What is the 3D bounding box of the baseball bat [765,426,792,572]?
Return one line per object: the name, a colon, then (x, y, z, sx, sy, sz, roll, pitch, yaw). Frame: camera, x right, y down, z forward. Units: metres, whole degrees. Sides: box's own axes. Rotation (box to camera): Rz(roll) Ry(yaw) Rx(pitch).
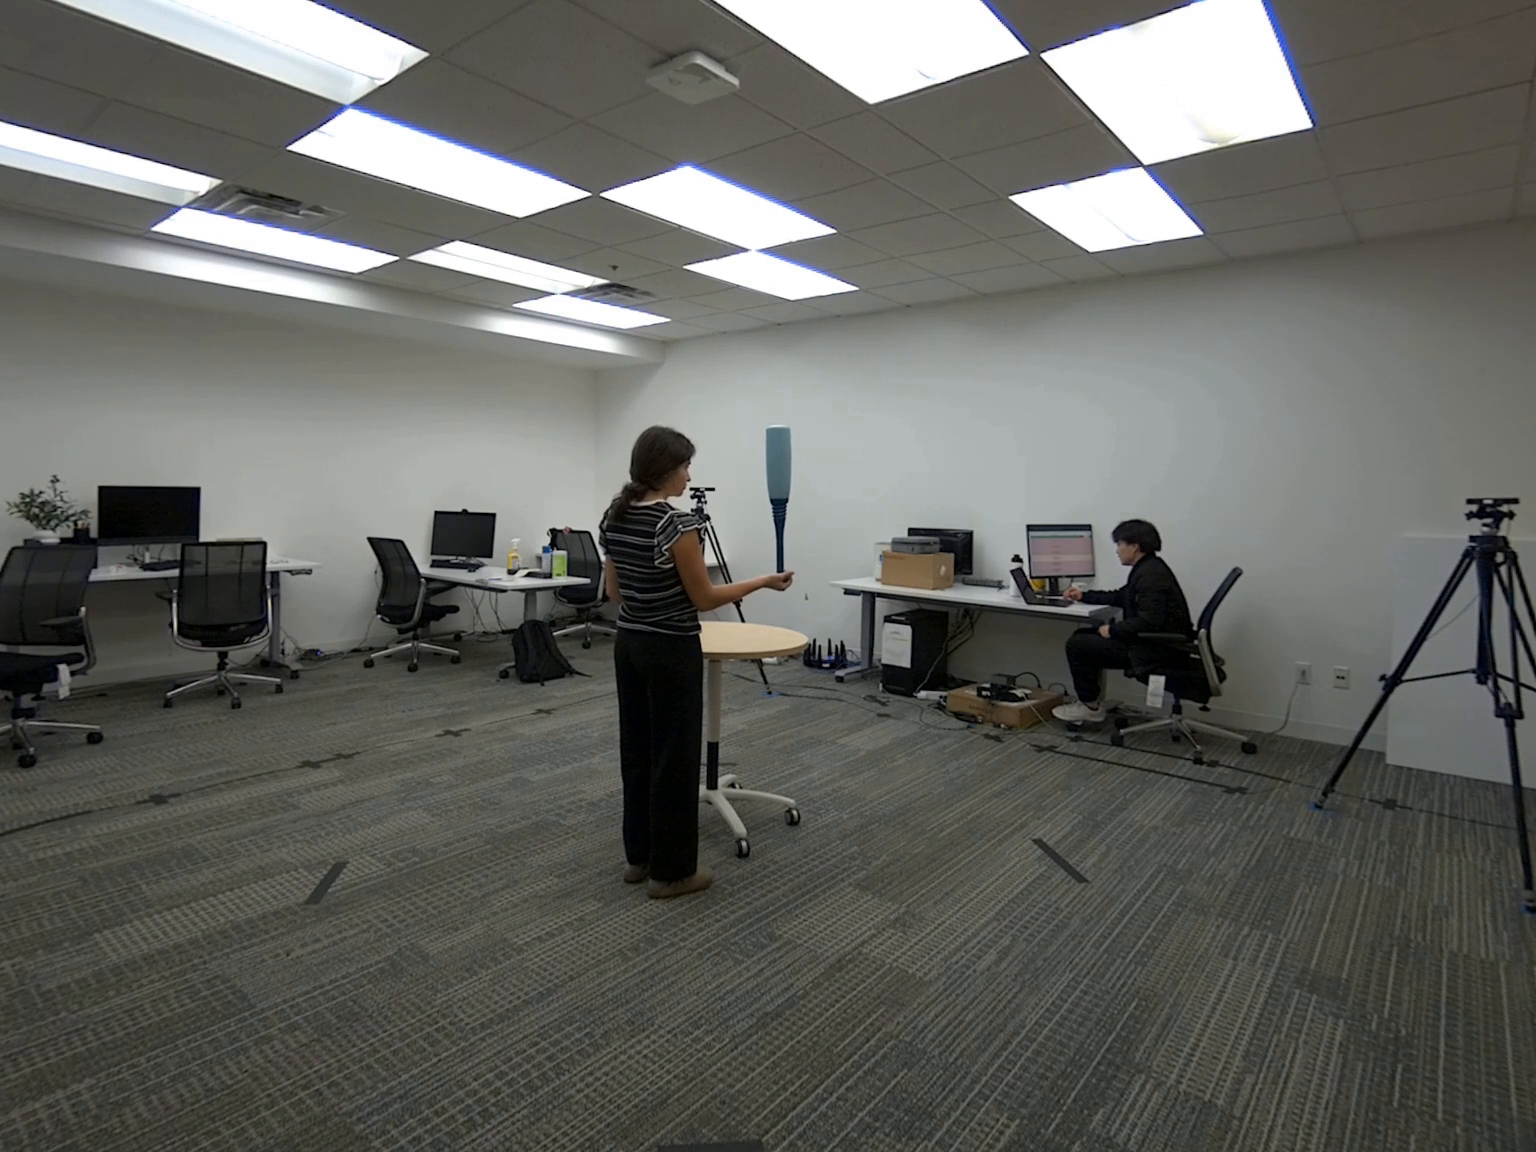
baseball bat: (0.030, -0.248, 2.947, 0.089, 0.541, 0.089, -4, 4, -1)
